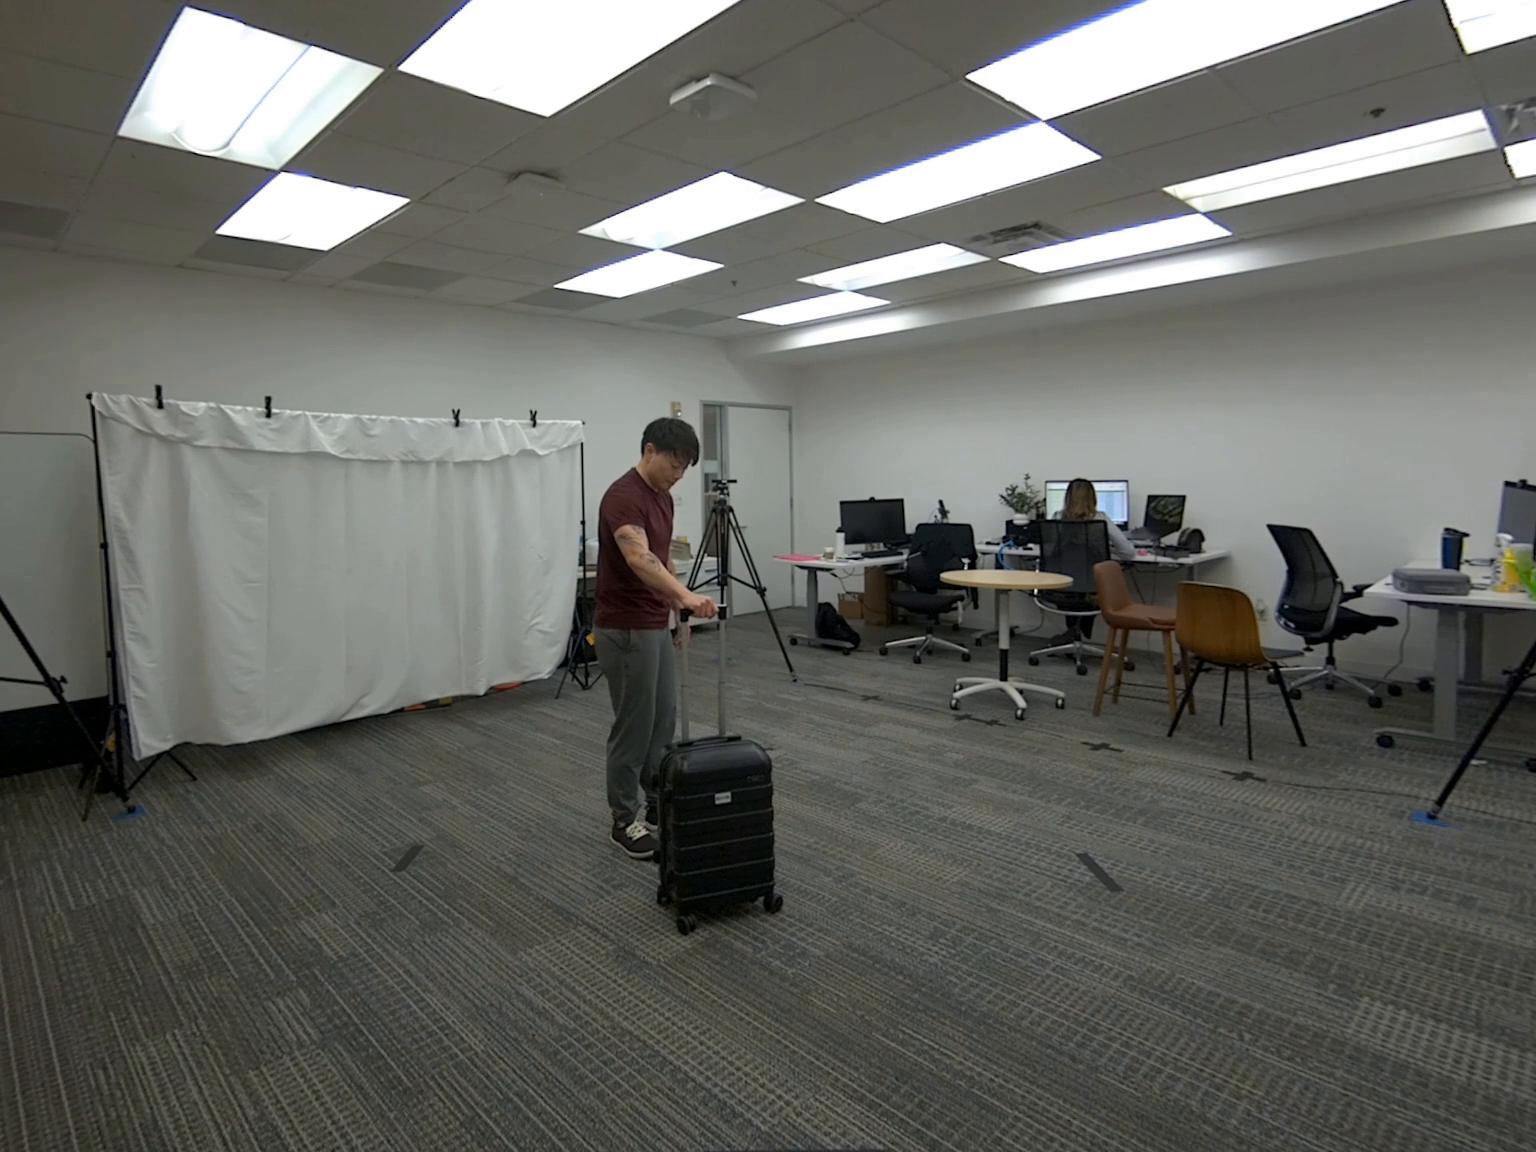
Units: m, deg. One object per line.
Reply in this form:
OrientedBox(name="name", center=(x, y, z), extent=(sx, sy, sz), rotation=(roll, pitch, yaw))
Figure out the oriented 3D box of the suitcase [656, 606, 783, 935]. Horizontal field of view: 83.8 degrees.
OrientedBox(name="suitcase", center=(-0.169, 0.610, 2.773), extent=(0.378, 0.973, 0.263), rotation=(-2, 6, -18))
